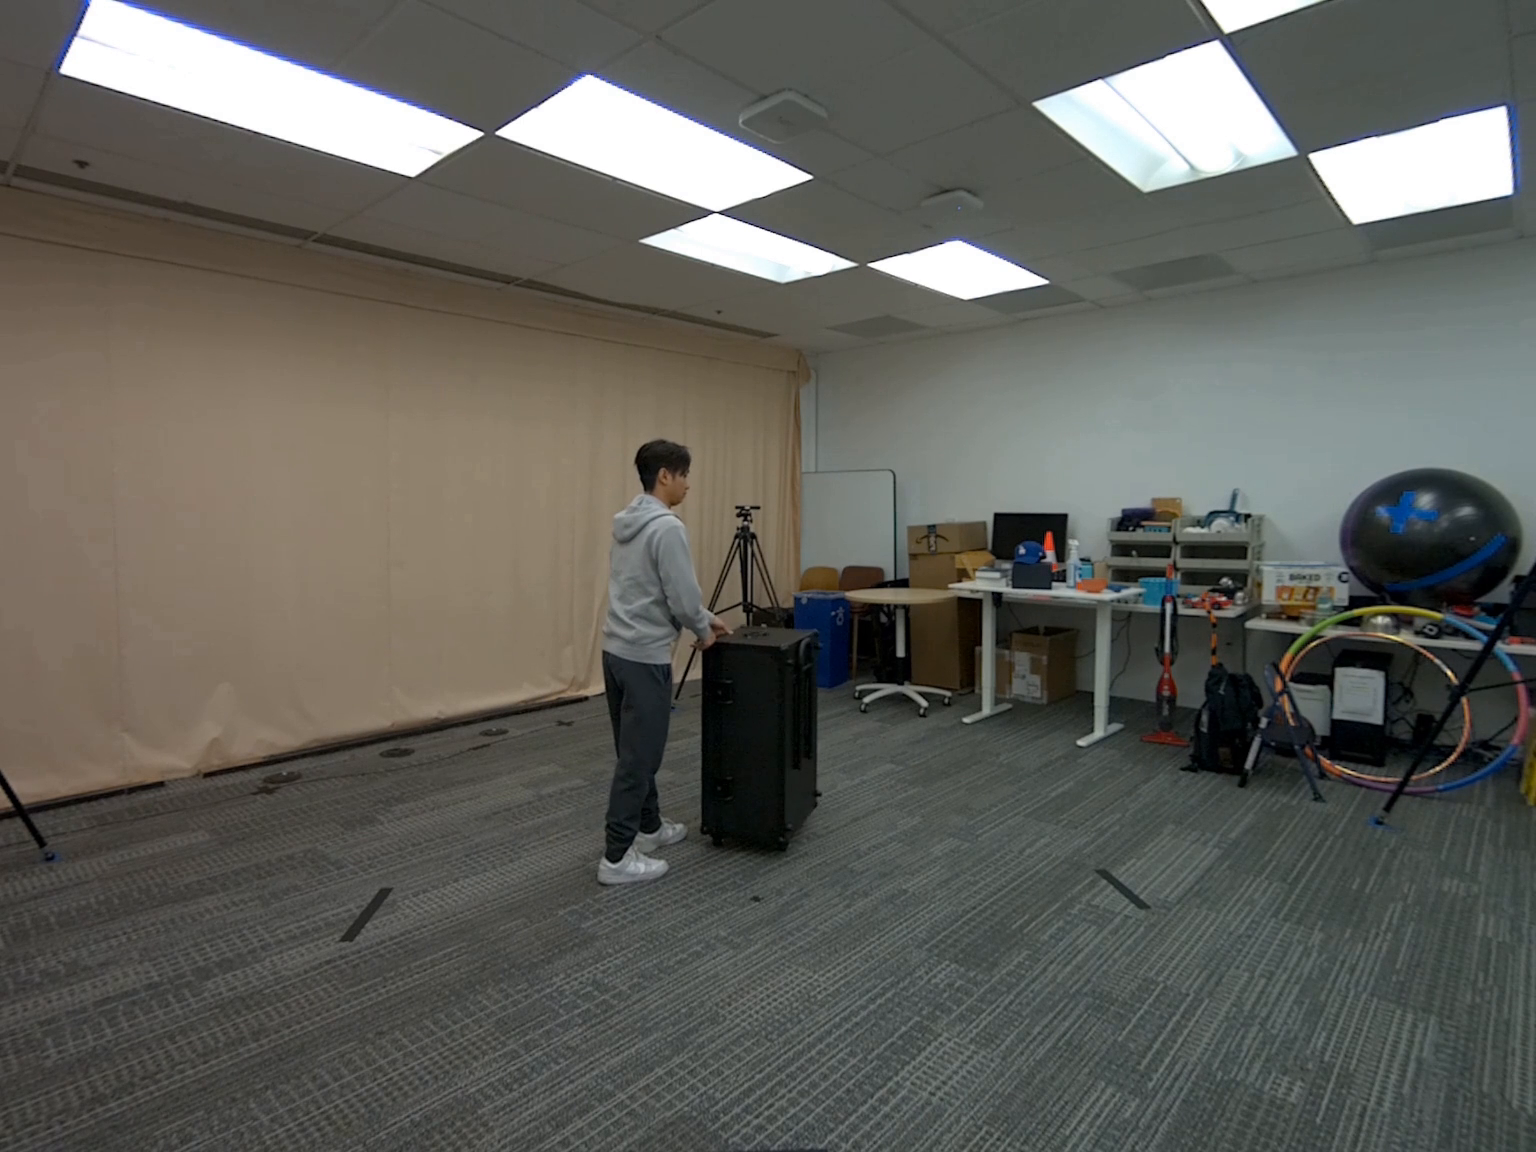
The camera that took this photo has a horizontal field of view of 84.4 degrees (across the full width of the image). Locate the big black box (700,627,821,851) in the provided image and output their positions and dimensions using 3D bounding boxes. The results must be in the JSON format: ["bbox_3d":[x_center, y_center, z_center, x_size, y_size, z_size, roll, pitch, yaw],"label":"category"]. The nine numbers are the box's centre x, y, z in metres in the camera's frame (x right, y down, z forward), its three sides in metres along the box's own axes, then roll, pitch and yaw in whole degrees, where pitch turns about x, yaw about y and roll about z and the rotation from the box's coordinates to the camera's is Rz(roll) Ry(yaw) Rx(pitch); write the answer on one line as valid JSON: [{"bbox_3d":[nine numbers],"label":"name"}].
[{"bbox_3d":[-0.007,0.674,3.541,0.404,0.860,0.511,2,4,18],"label":"big black box"}]
